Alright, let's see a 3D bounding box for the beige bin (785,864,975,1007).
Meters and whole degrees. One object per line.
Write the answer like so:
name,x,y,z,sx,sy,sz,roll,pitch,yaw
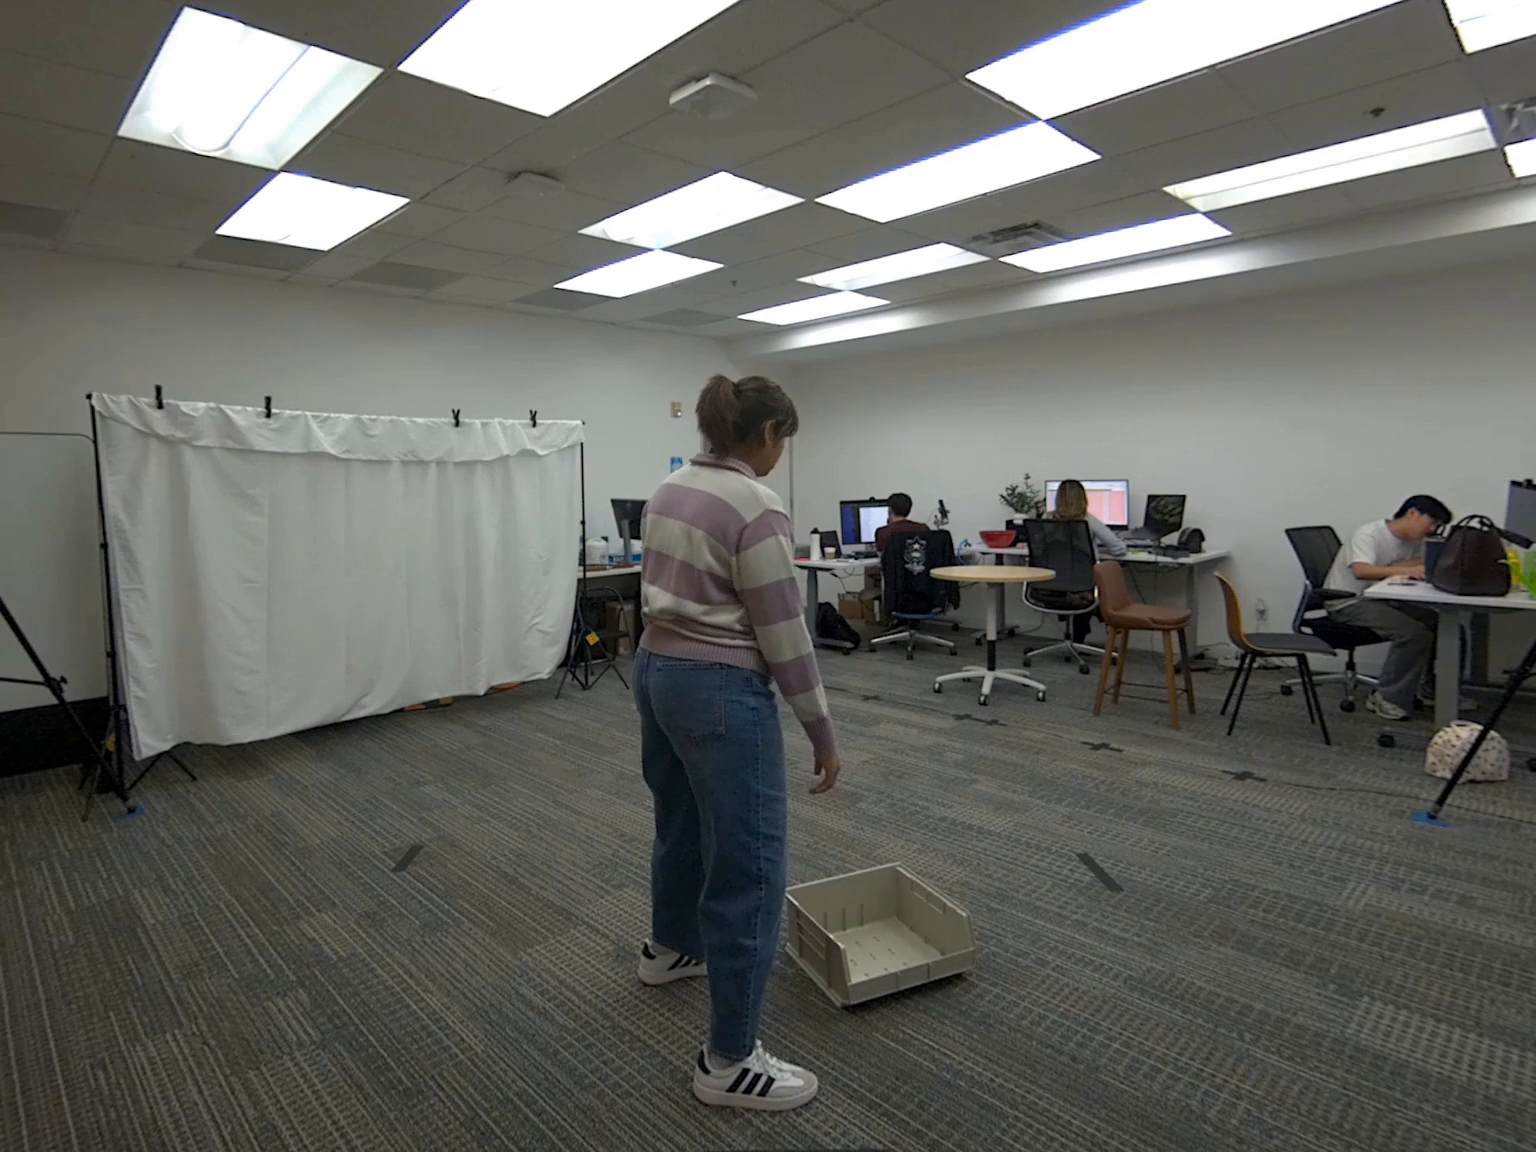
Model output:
beige bin,0.316,1.029,2.452,0.414,0.188,0.386,-4,6,-24
